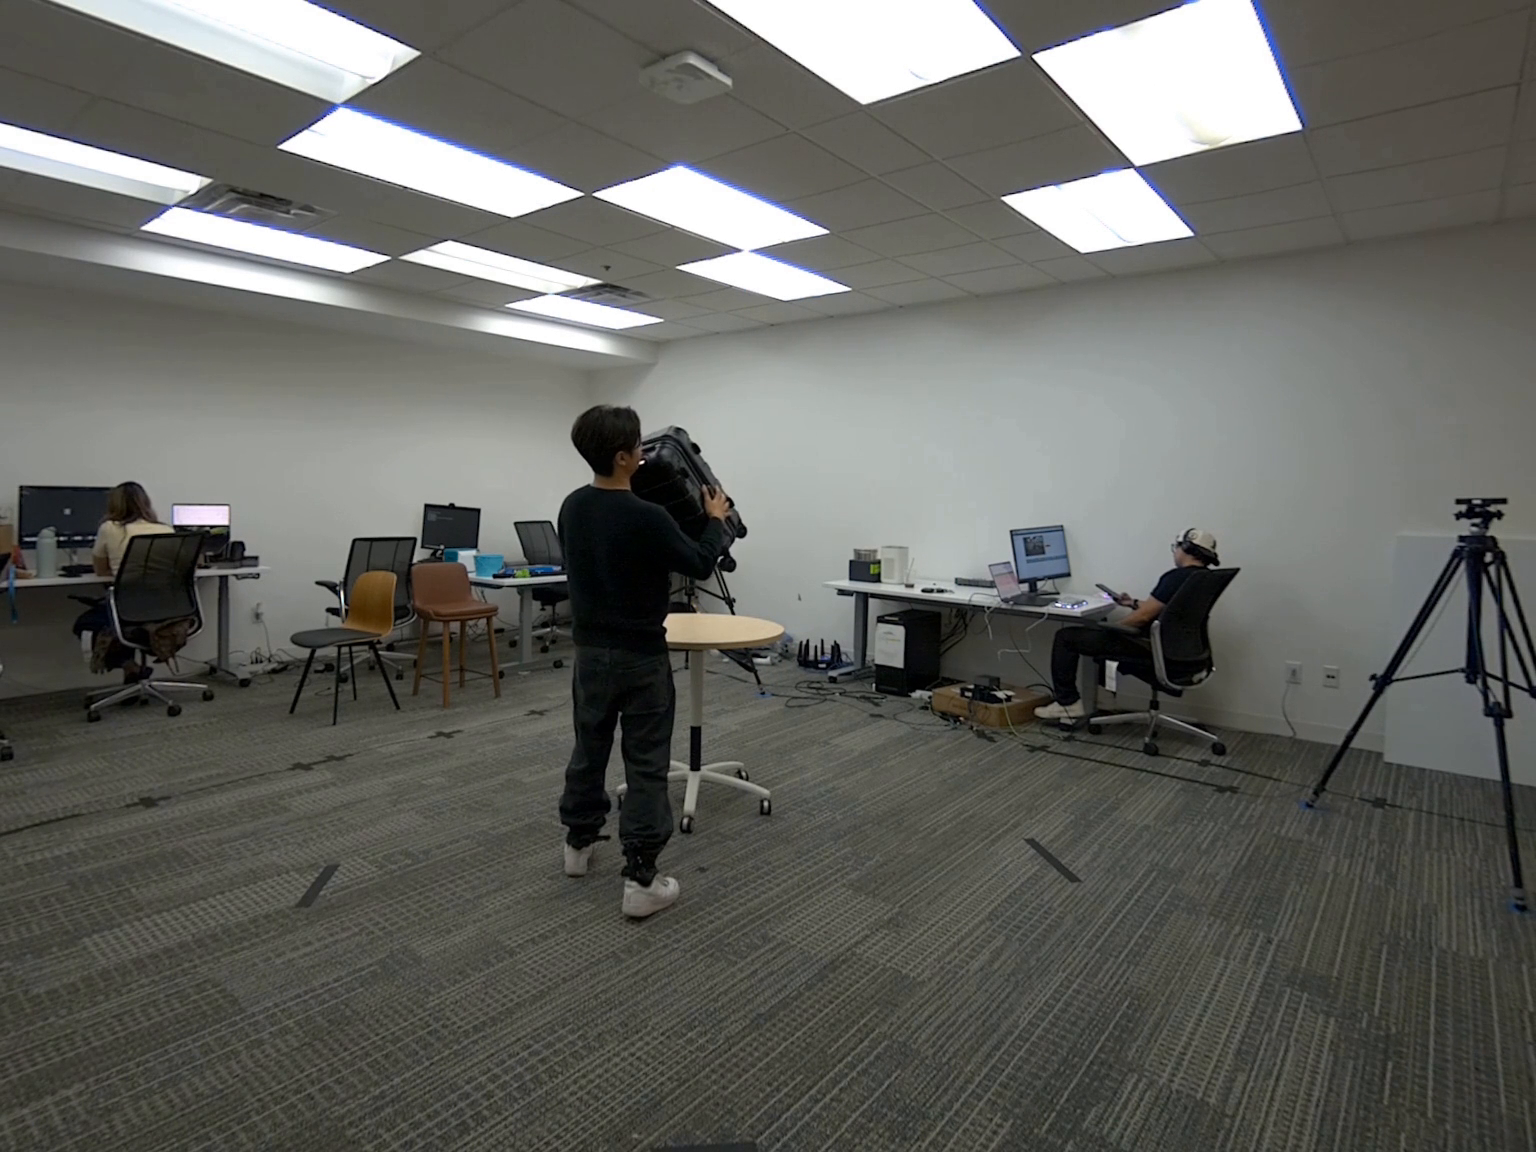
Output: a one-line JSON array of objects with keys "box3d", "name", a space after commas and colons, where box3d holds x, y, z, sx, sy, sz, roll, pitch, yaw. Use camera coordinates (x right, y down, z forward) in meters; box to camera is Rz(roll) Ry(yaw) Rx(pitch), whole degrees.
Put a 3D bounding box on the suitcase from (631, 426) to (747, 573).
[{"box3d": [-0.378, -0.268, 3.179, 0.382, 0.532, 0.252, -18, 30, 29], "name": "suitcase"}]
